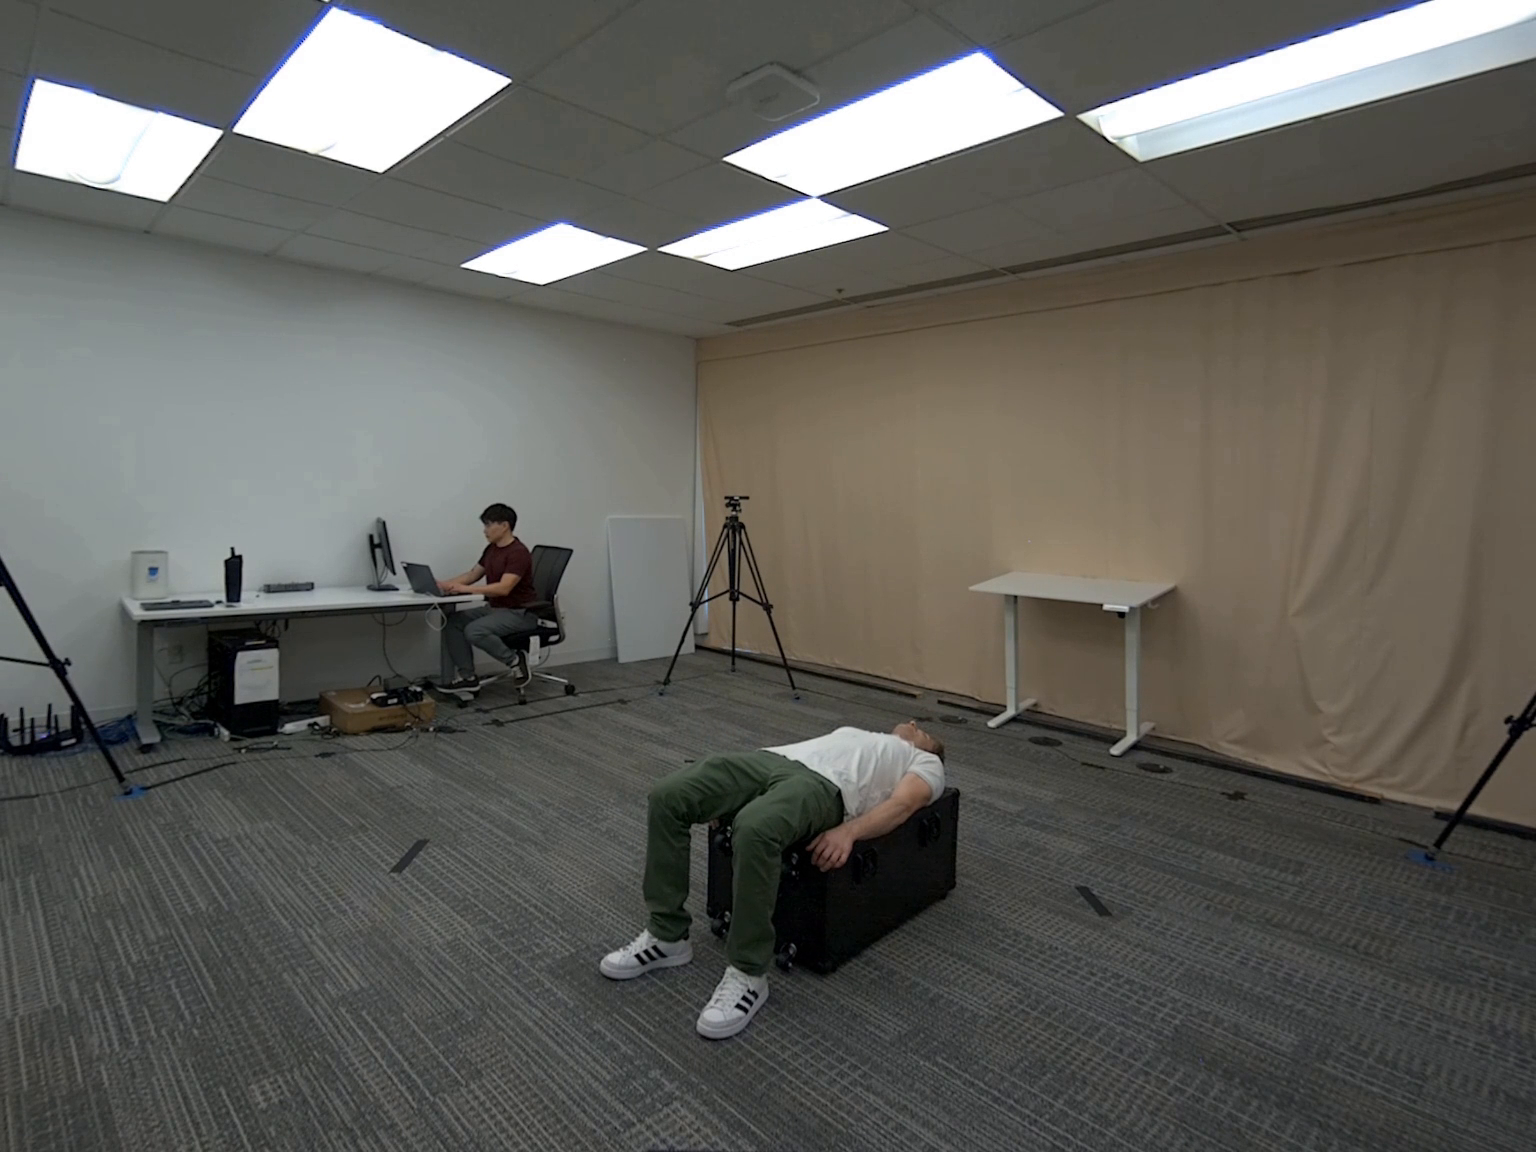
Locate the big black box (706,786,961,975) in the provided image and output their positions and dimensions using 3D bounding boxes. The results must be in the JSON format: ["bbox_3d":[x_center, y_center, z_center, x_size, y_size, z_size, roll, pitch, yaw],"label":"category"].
[{"bbox_3d":[0.203,0.948,2.843,0.537,0.384,0.849,7,8,42],"label":"big black box"}]
